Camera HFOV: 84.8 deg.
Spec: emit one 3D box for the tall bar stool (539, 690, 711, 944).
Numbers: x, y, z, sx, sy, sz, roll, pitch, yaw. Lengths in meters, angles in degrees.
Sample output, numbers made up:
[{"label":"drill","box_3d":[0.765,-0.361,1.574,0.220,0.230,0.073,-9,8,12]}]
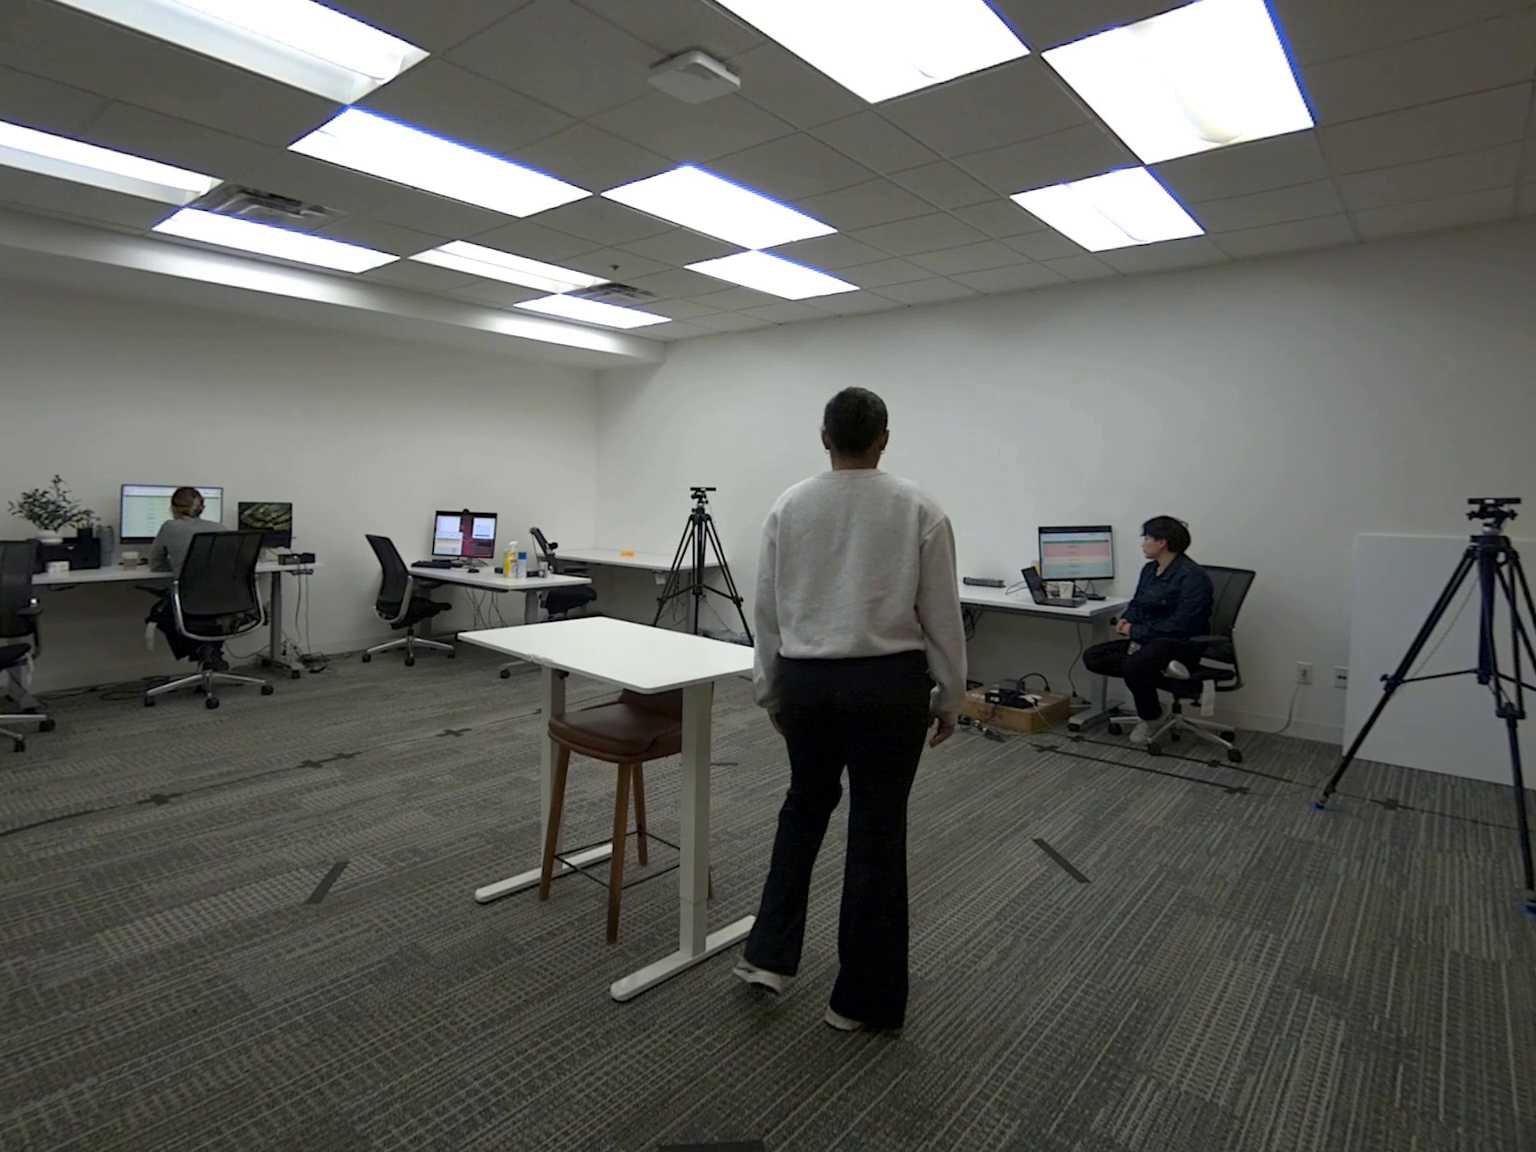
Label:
[{"label":"tall bar stool","box_3d":[-0.472,0.654,2.854,0.472,0.888,0.453,3,2,44]}]
